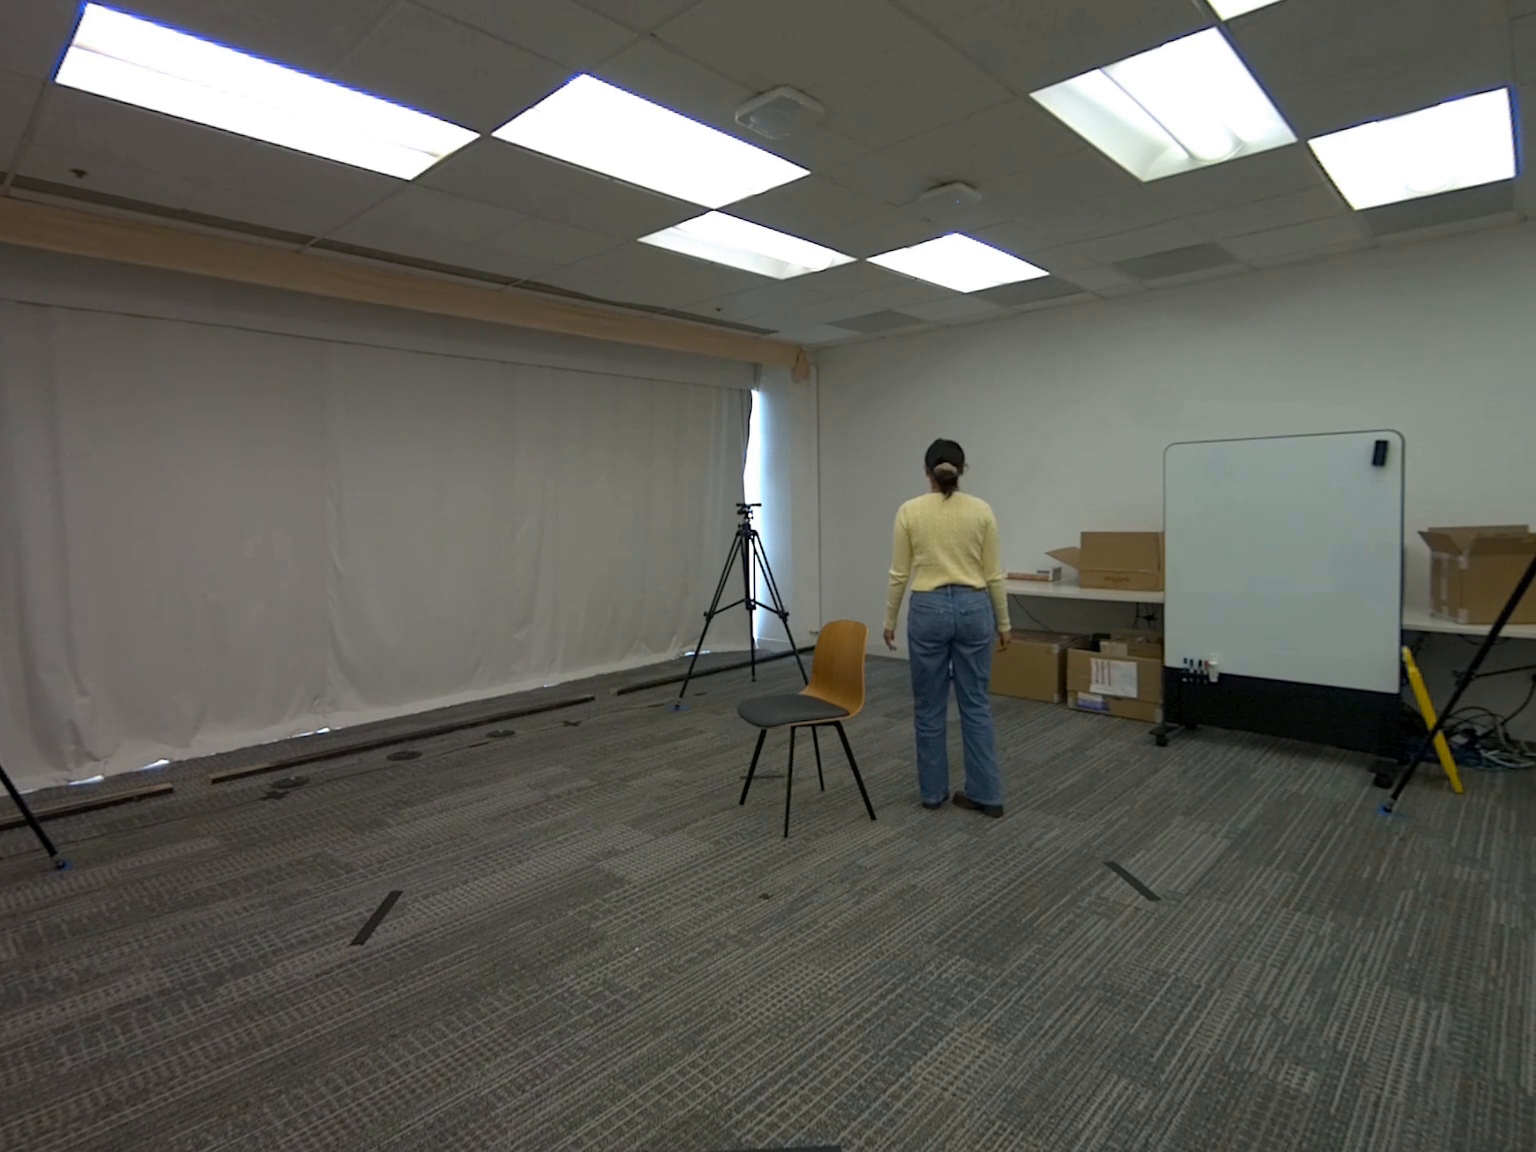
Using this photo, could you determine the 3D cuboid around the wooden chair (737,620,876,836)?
[{"bbox_3d":[0.159,0.638,3.751,0.510,0.876,0.491,2,2,-26],"label":"wooden chair"}]
